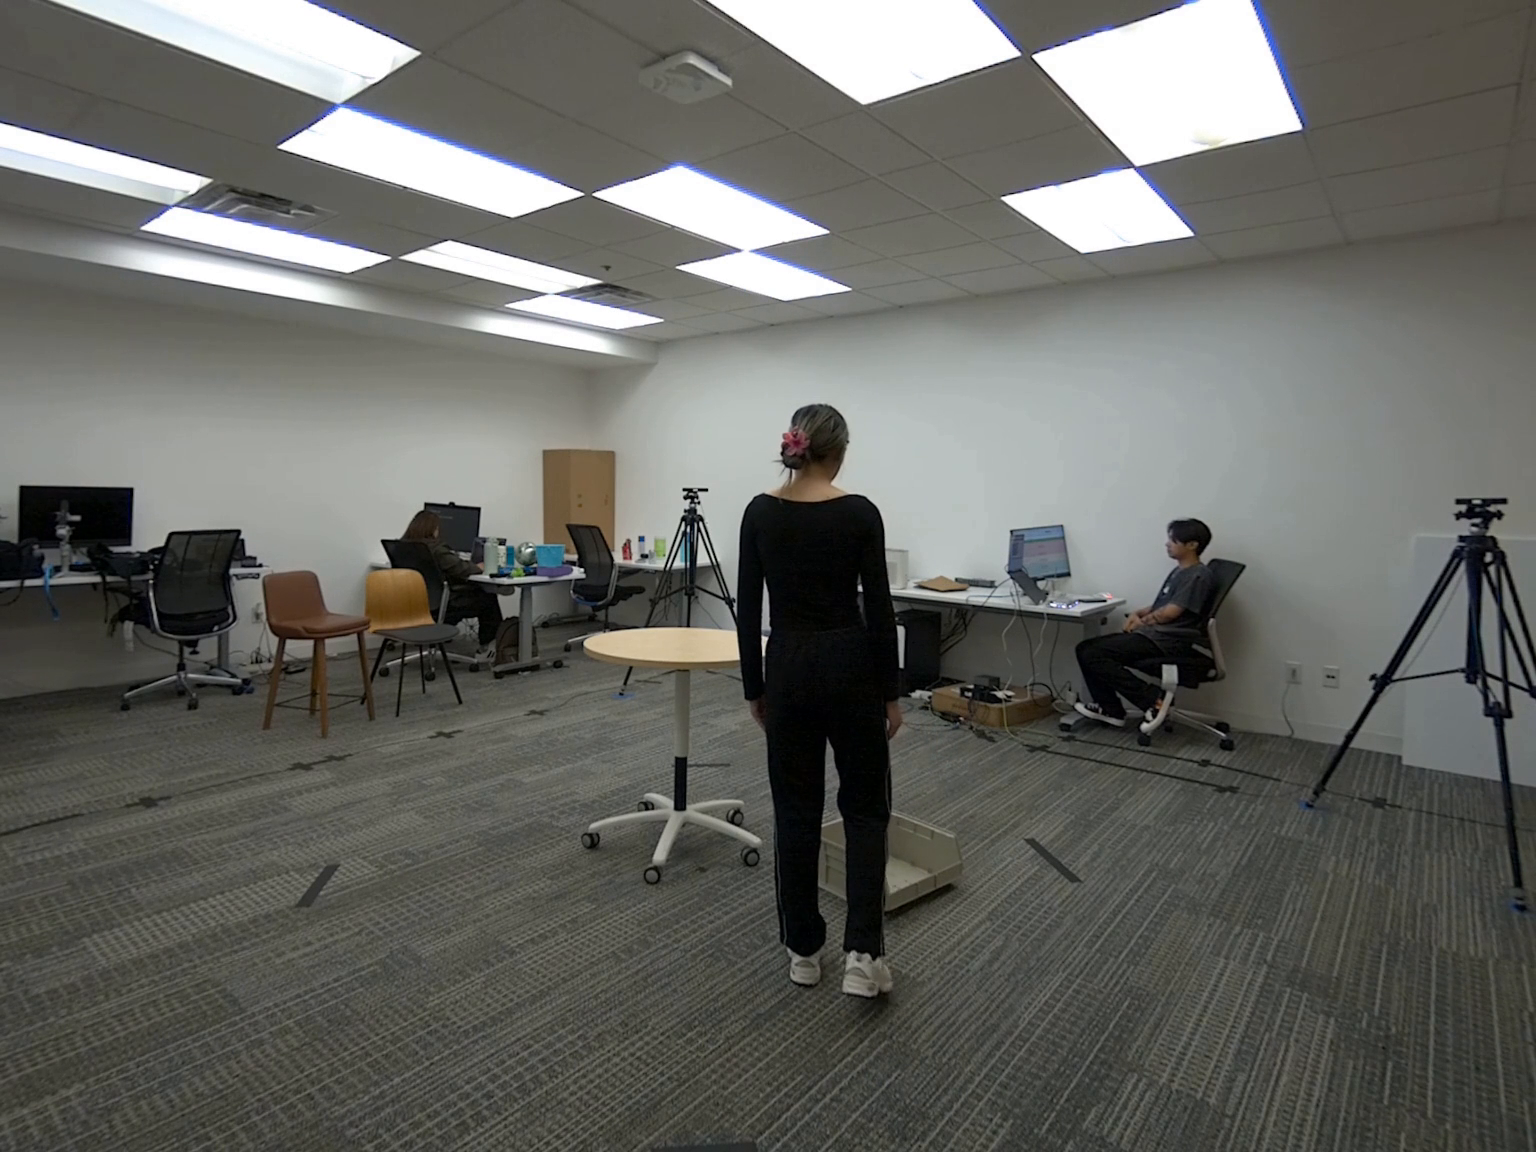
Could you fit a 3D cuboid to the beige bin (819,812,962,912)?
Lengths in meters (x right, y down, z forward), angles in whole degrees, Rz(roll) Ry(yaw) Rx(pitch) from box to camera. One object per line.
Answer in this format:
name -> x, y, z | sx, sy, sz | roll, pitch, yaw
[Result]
beige bin -> 0.411, 1.004, 3.026 | 0.410, 0.188, 0.390 | -4, 6, -41
